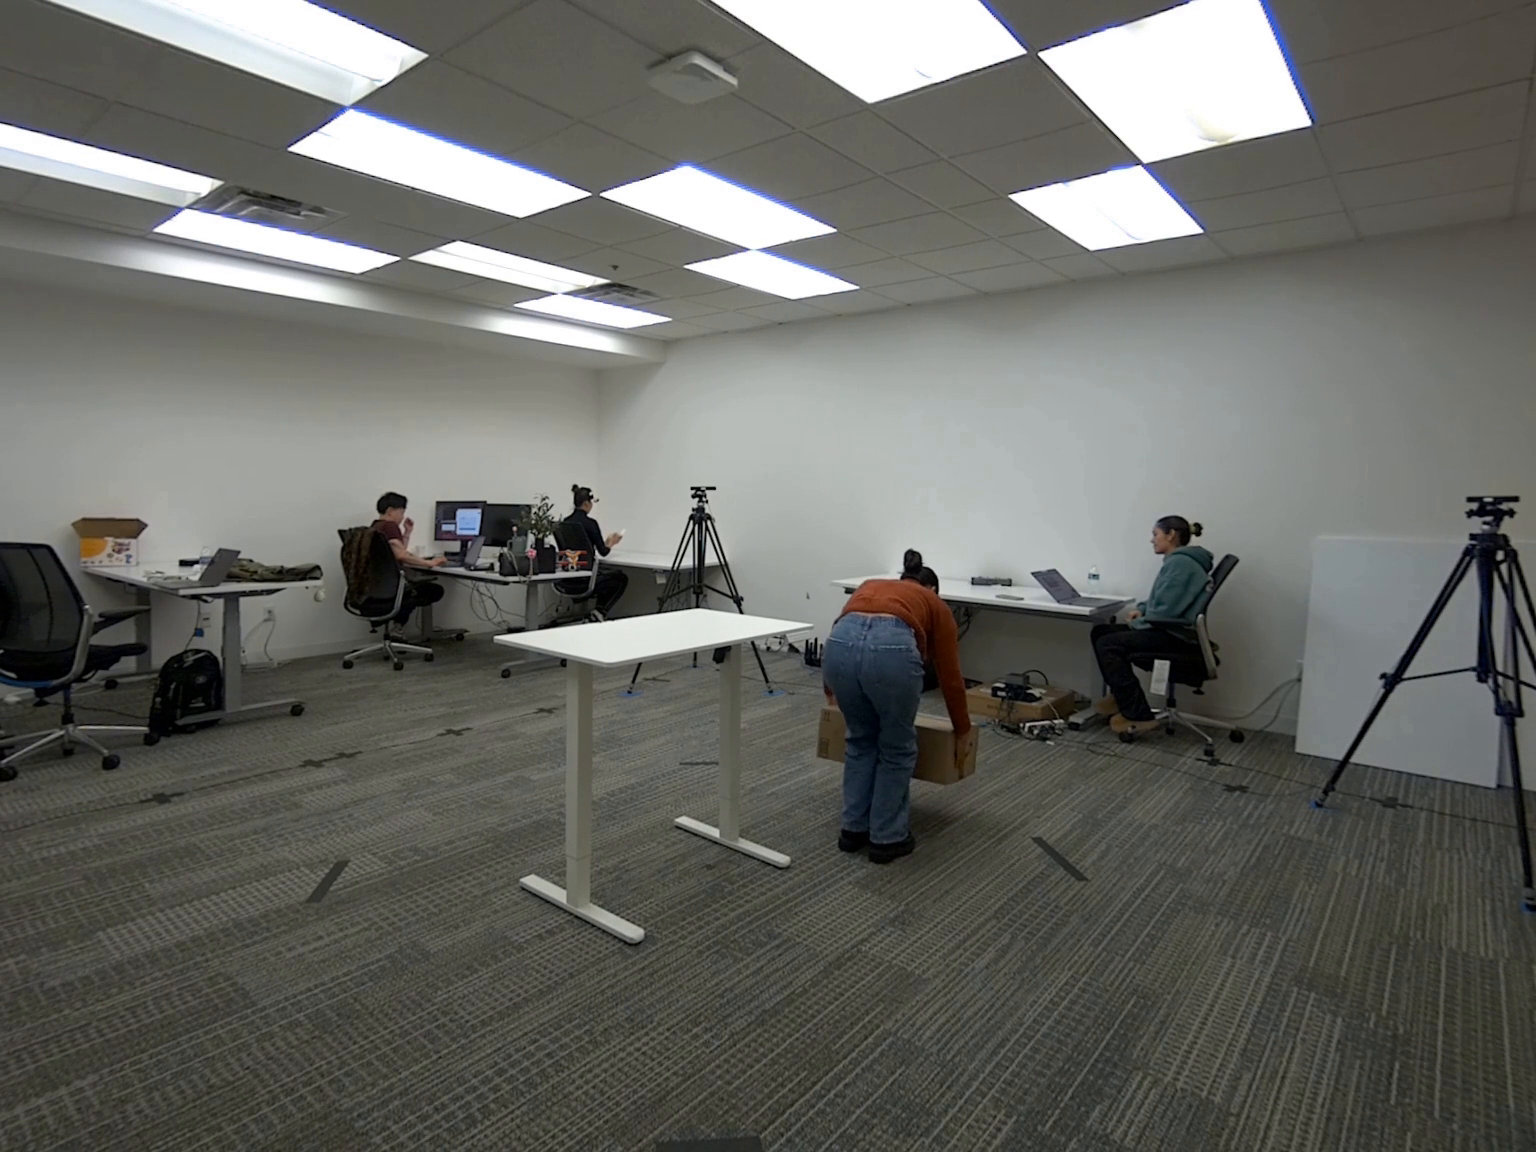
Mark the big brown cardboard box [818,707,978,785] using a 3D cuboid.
[{"bbox_3d":[0.561,0.697,3.677,0.606,0.234,0.404,5,-2,29],"label":"big brown cardboard box"}]
